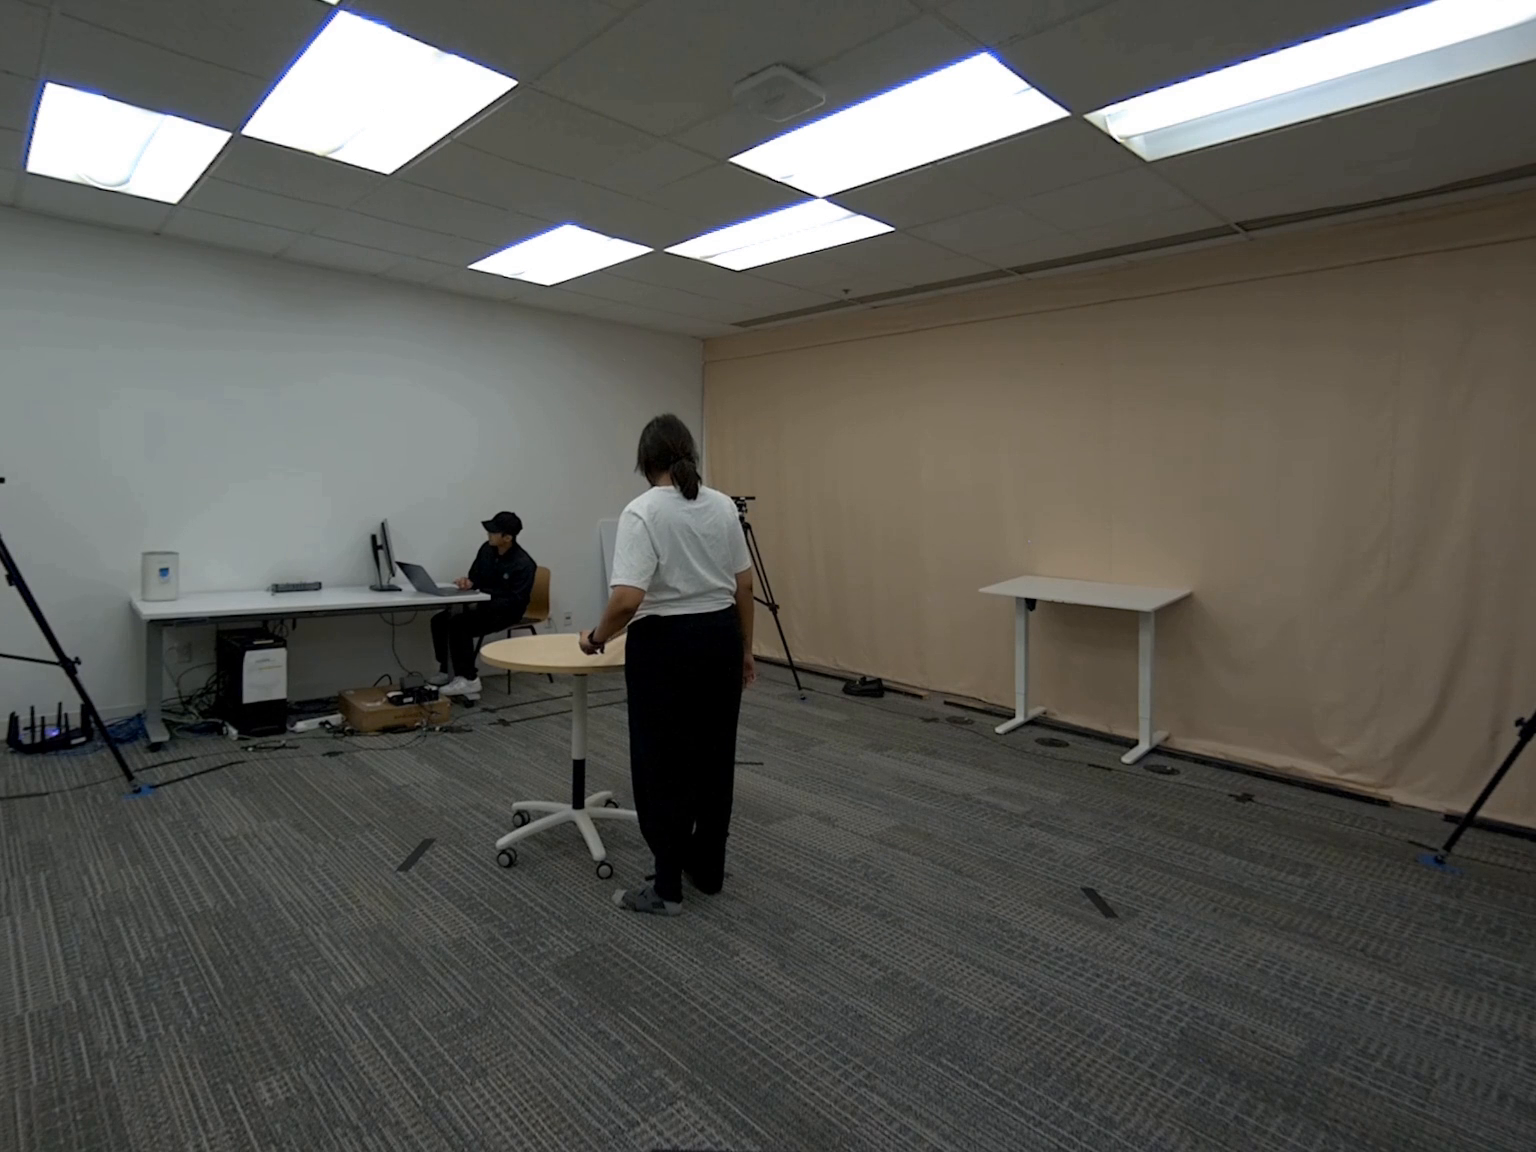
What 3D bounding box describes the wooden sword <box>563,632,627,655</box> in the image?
[{"bbox_3d":[-0.593,0.227,3.283,0.051,0.024,1.018,41,4,4],"label":"wooden sword"}]
